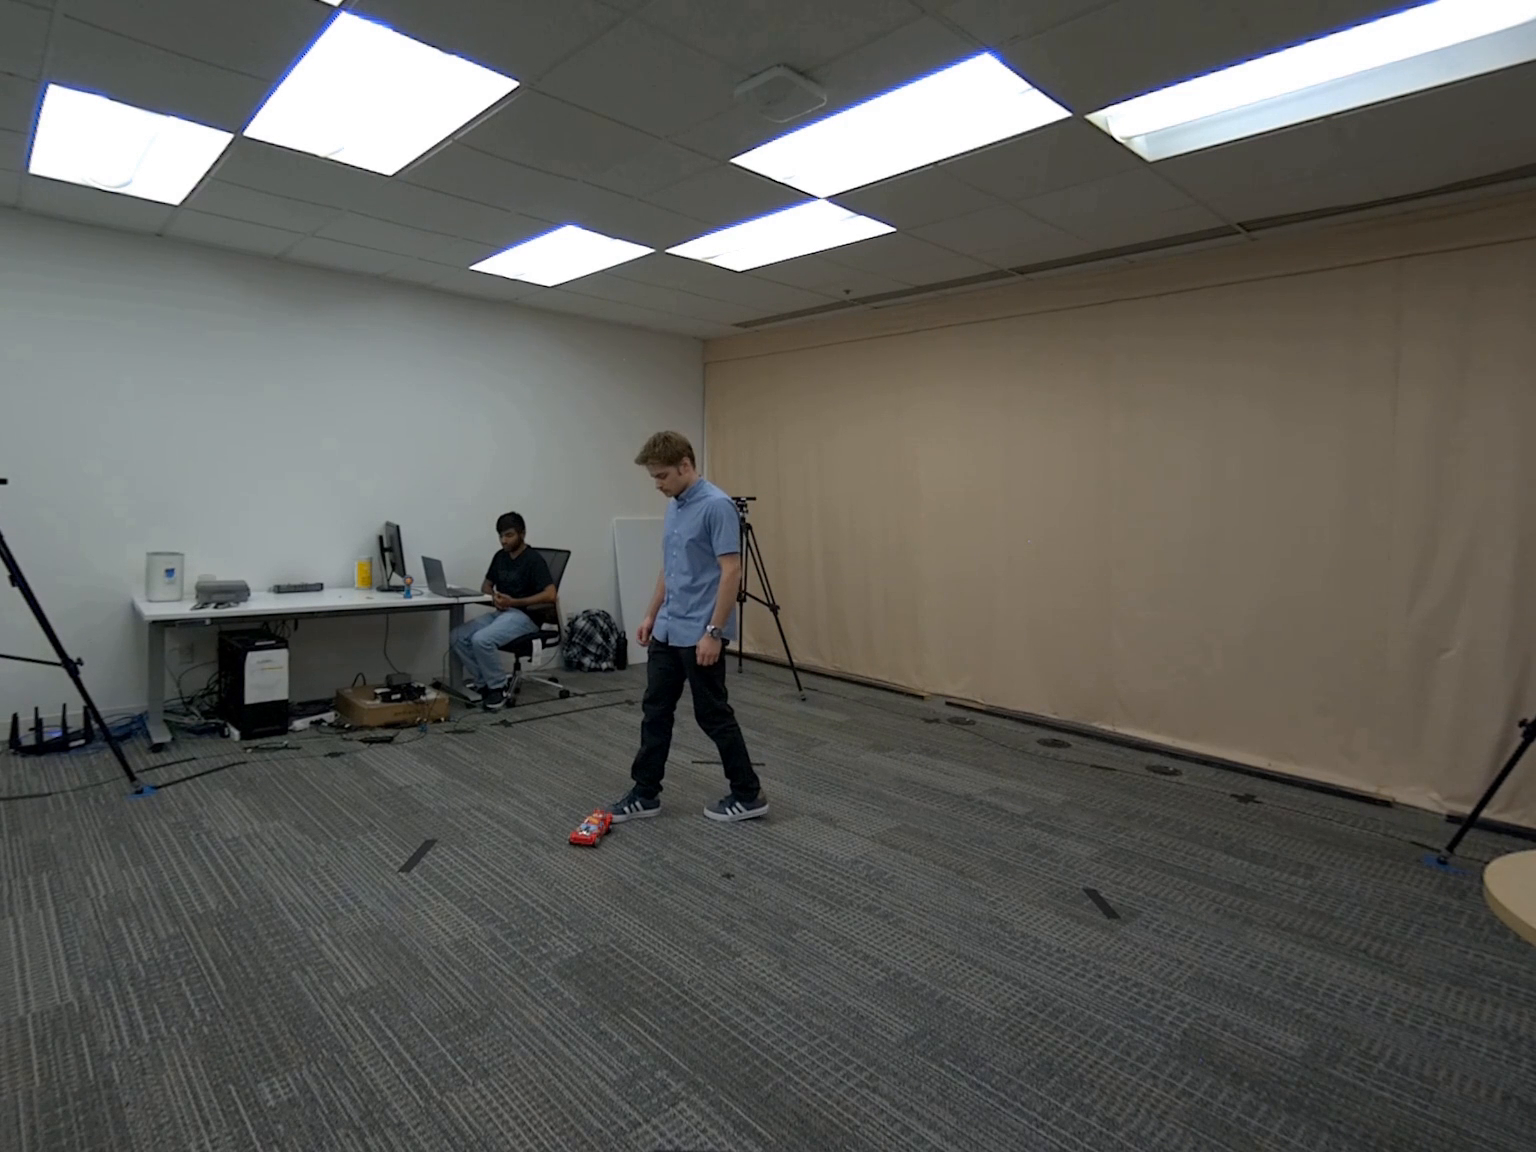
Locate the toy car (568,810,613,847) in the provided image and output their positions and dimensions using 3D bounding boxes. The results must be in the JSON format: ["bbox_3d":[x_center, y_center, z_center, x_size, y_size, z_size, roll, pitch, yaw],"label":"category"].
[{"bbox_3d":[-0.721,1.035,3.434,0.131,0.082,0.255,1,16,12],"label":"toy car"}]
